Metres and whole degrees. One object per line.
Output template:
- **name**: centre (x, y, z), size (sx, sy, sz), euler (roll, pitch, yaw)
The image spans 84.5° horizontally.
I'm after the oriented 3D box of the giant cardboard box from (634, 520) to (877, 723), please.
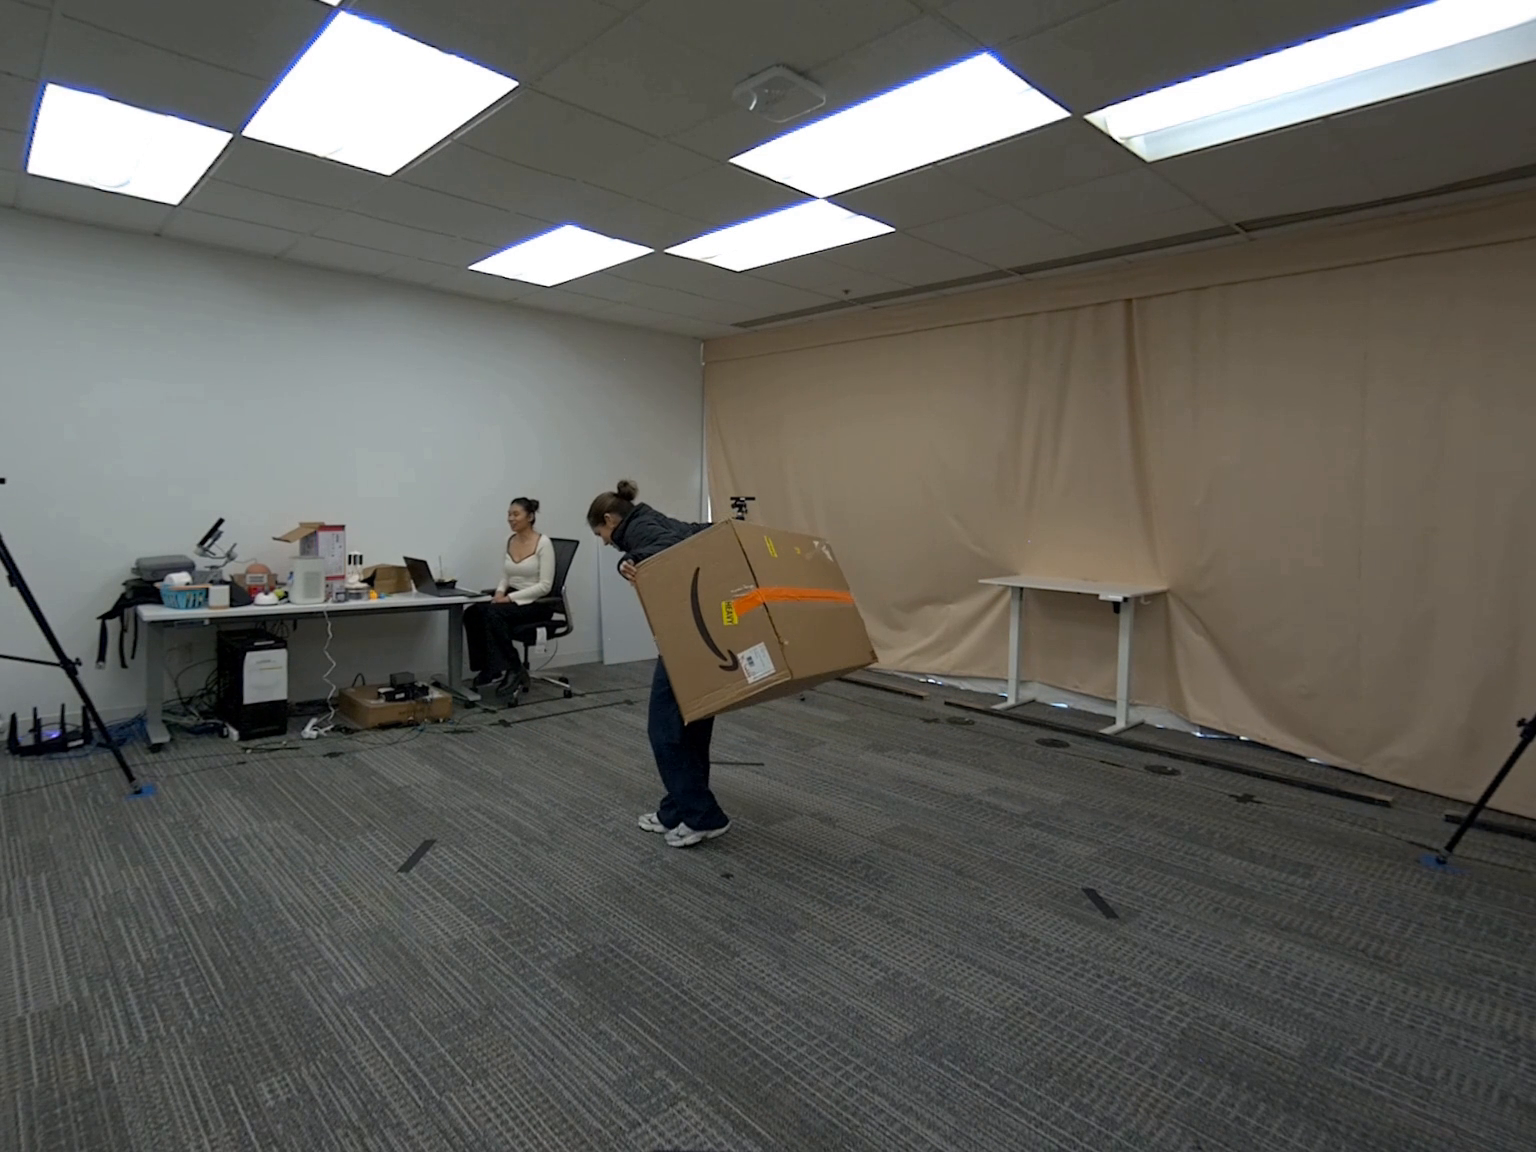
- **giant cardboard box**: centre (-0.004, 0.173, 3.247), size (0.429, 0.584, 1.006), euler (-26, -12, 21)
